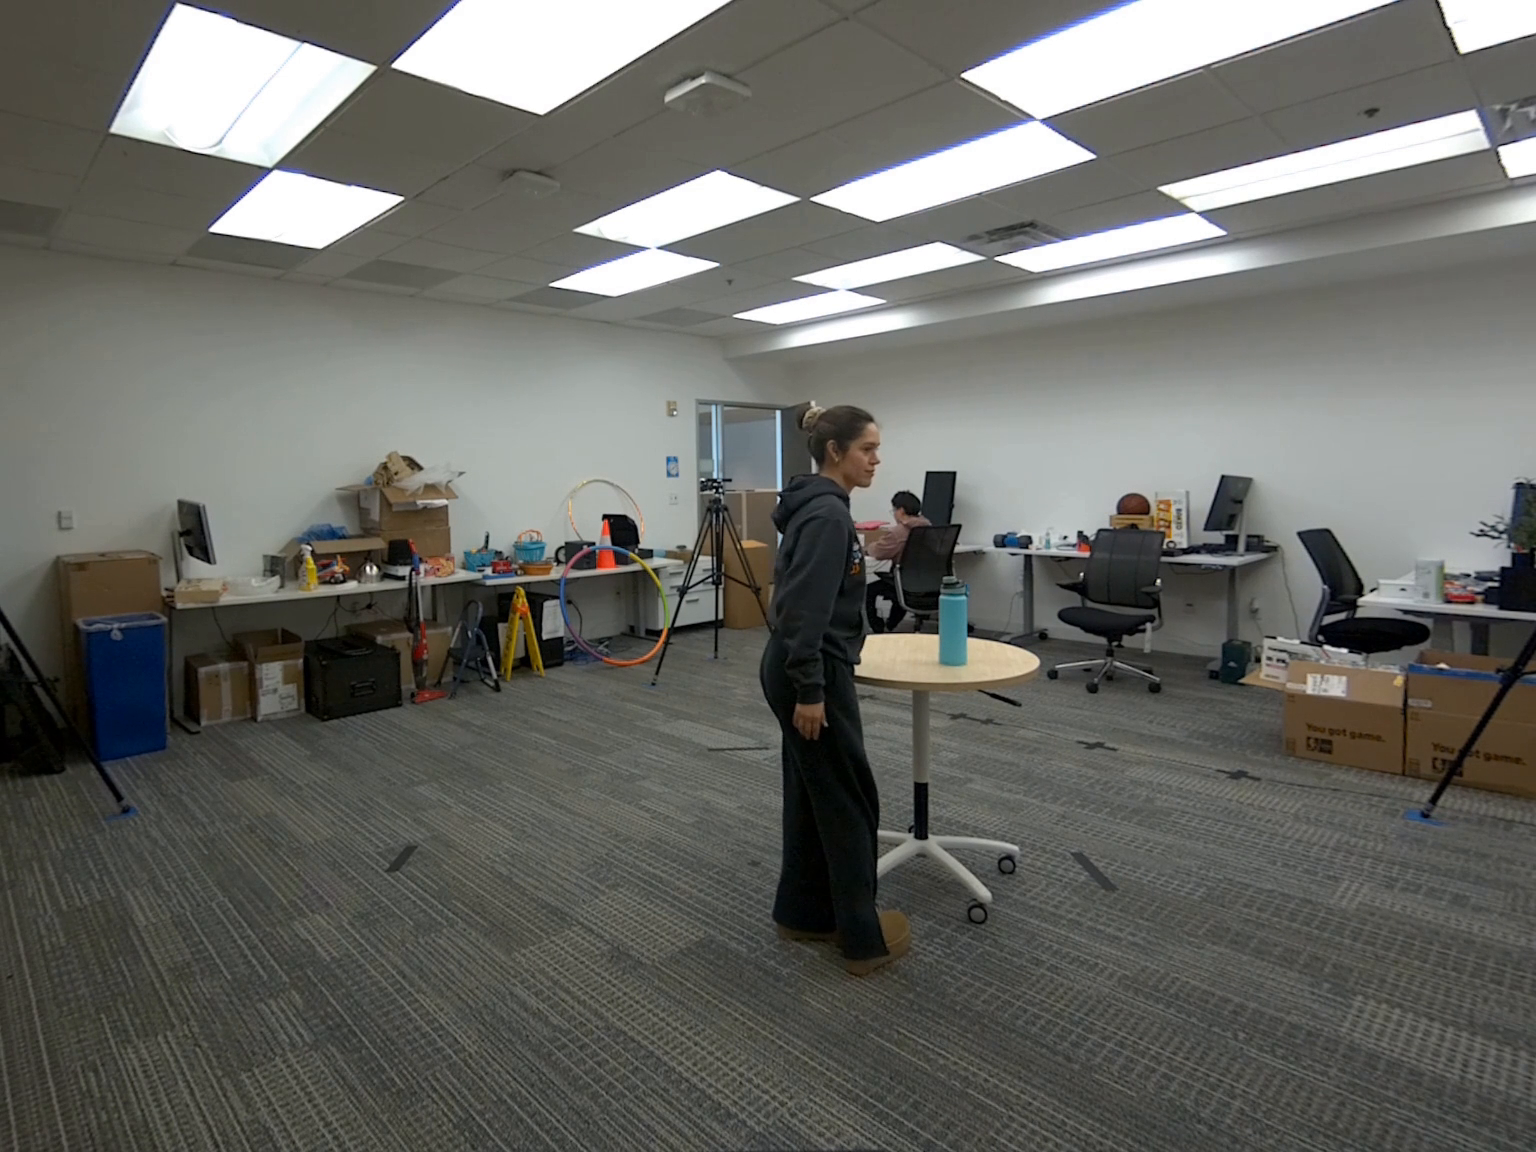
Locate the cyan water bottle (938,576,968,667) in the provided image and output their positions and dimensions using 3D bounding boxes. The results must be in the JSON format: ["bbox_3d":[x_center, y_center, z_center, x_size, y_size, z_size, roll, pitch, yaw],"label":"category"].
[{"bbox_3d":[0.614,0.147,2.785,0.092,0.282,0.093,2,5,-2],"label":"cyan water bottle"}]
